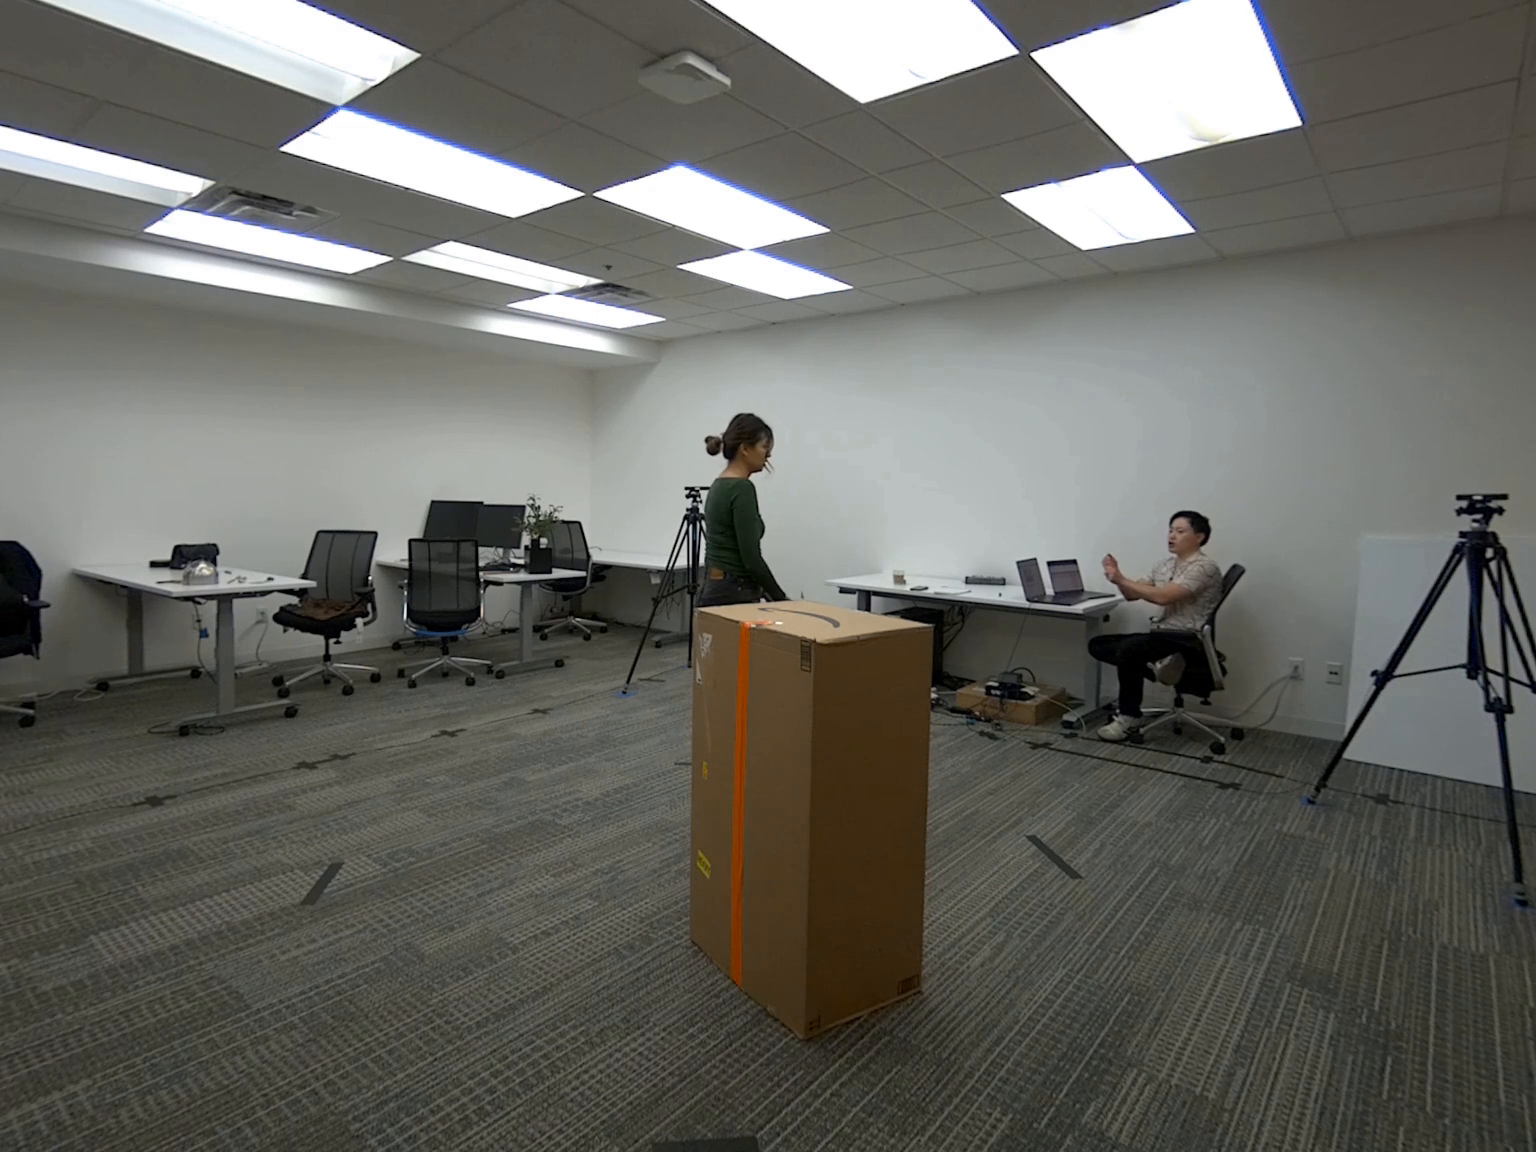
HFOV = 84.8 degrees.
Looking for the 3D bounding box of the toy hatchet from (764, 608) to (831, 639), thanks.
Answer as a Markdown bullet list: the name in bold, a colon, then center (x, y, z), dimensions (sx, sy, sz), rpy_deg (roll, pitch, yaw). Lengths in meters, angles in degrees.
- **toy hatchet**: center (0.124, 0.204, 3.656), dimensions (0.278, 0.127, 0.029), rpy_deg (0, 33, 34)
